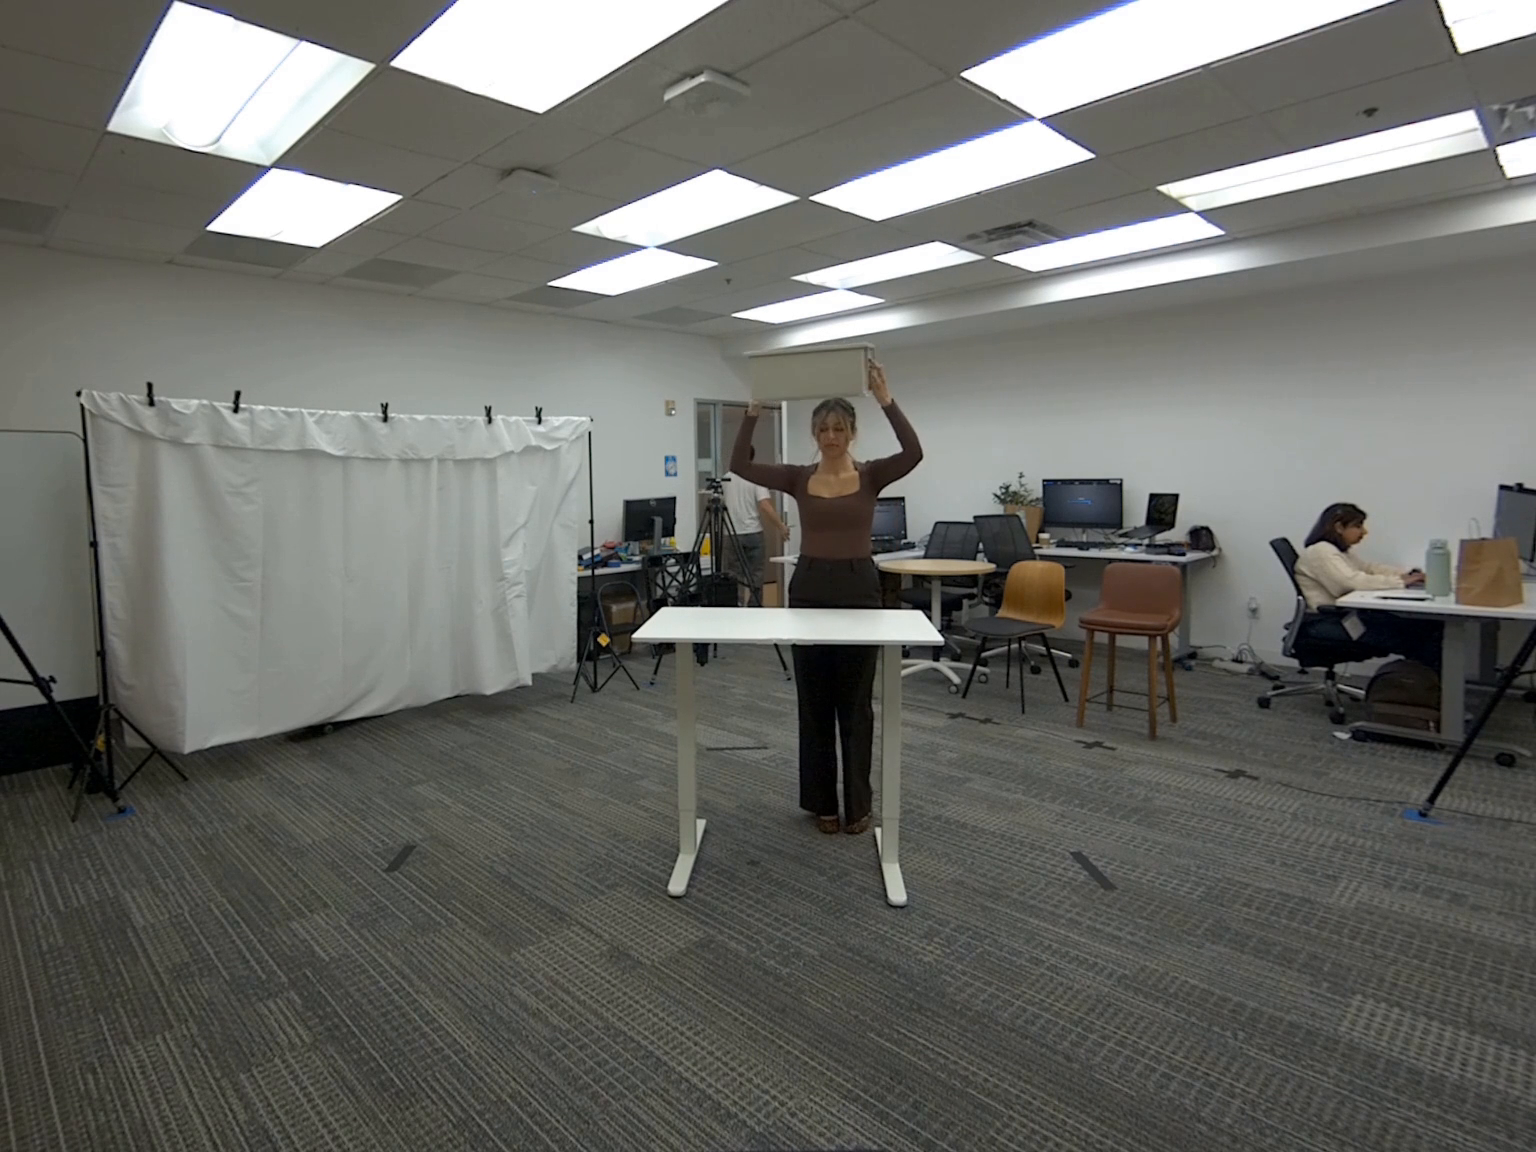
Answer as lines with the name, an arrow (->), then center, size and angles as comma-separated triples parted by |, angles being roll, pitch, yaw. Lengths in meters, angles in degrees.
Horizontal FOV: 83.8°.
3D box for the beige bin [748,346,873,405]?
beige bin -> 0.167, -0.723, 3.081 | 0.429, 0.187, 0.375 | 0, 13, 16
